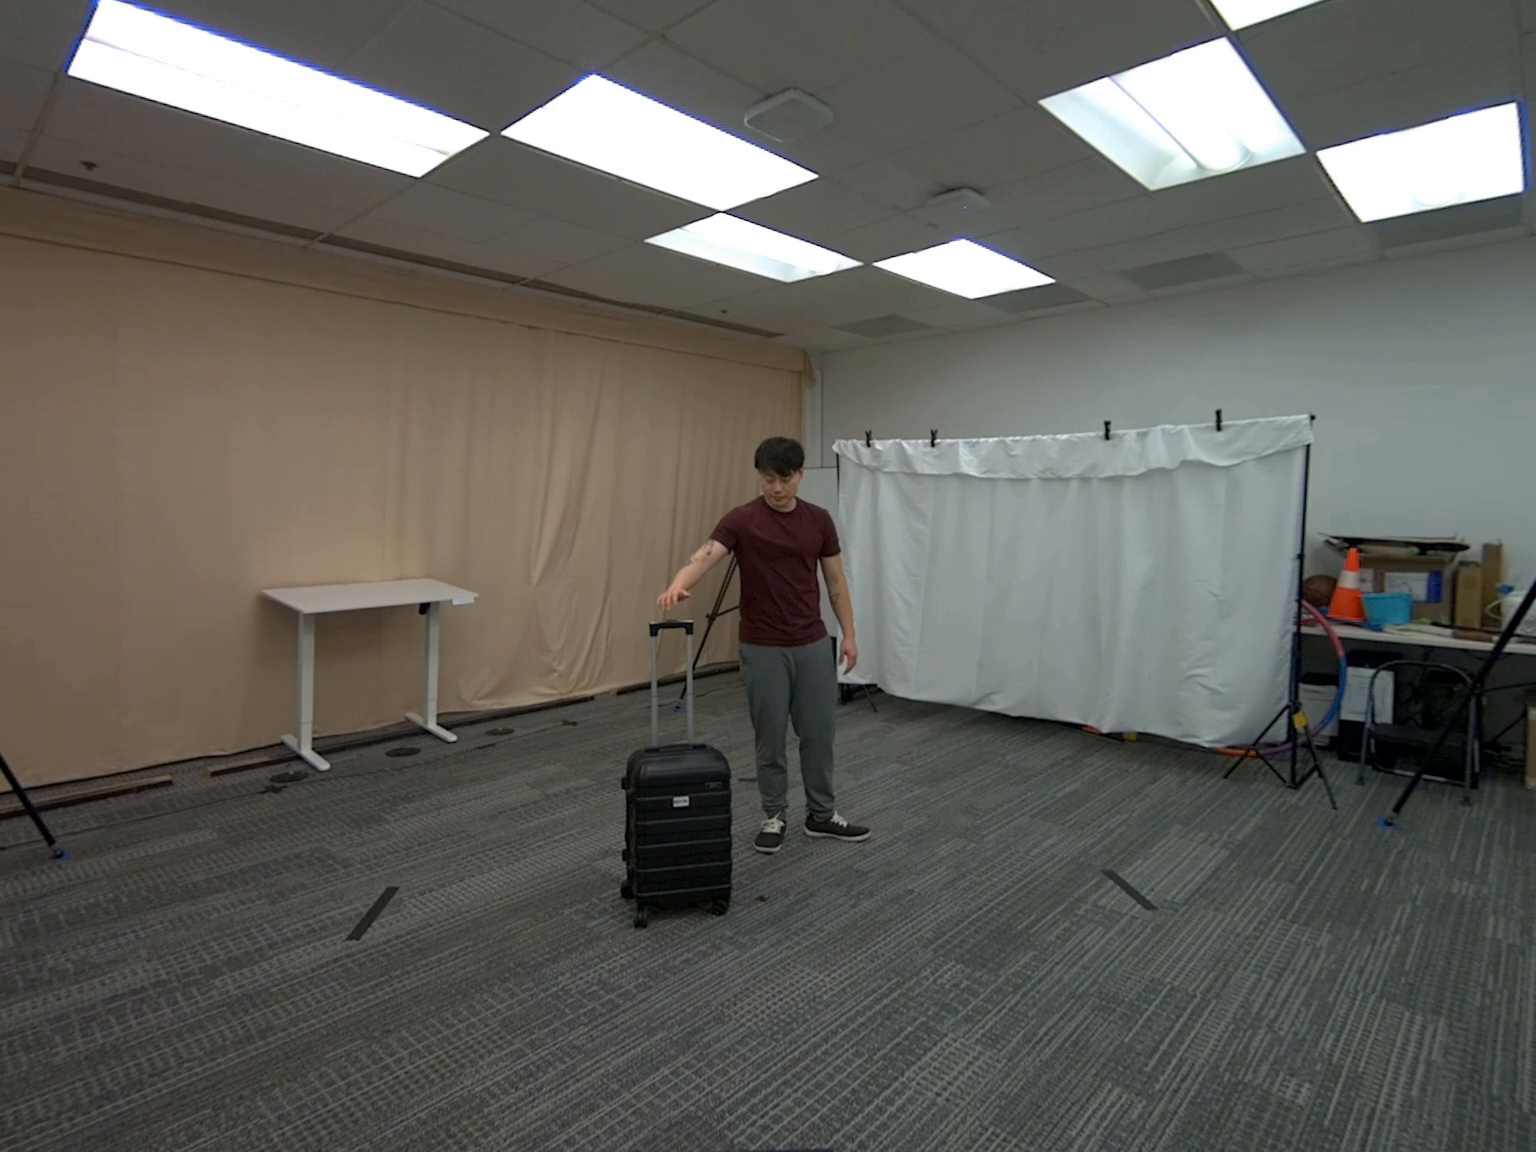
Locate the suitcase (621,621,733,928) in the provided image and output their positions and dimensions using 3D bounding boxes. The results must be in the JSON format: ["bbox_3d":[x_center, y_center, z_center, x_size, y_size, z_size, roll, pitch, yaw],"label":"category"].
[{"bbox_3d":[-0.315,0.671,2.917,0.379,0.975,0.261,-1,6,-13],"label":"suitcase"}]
